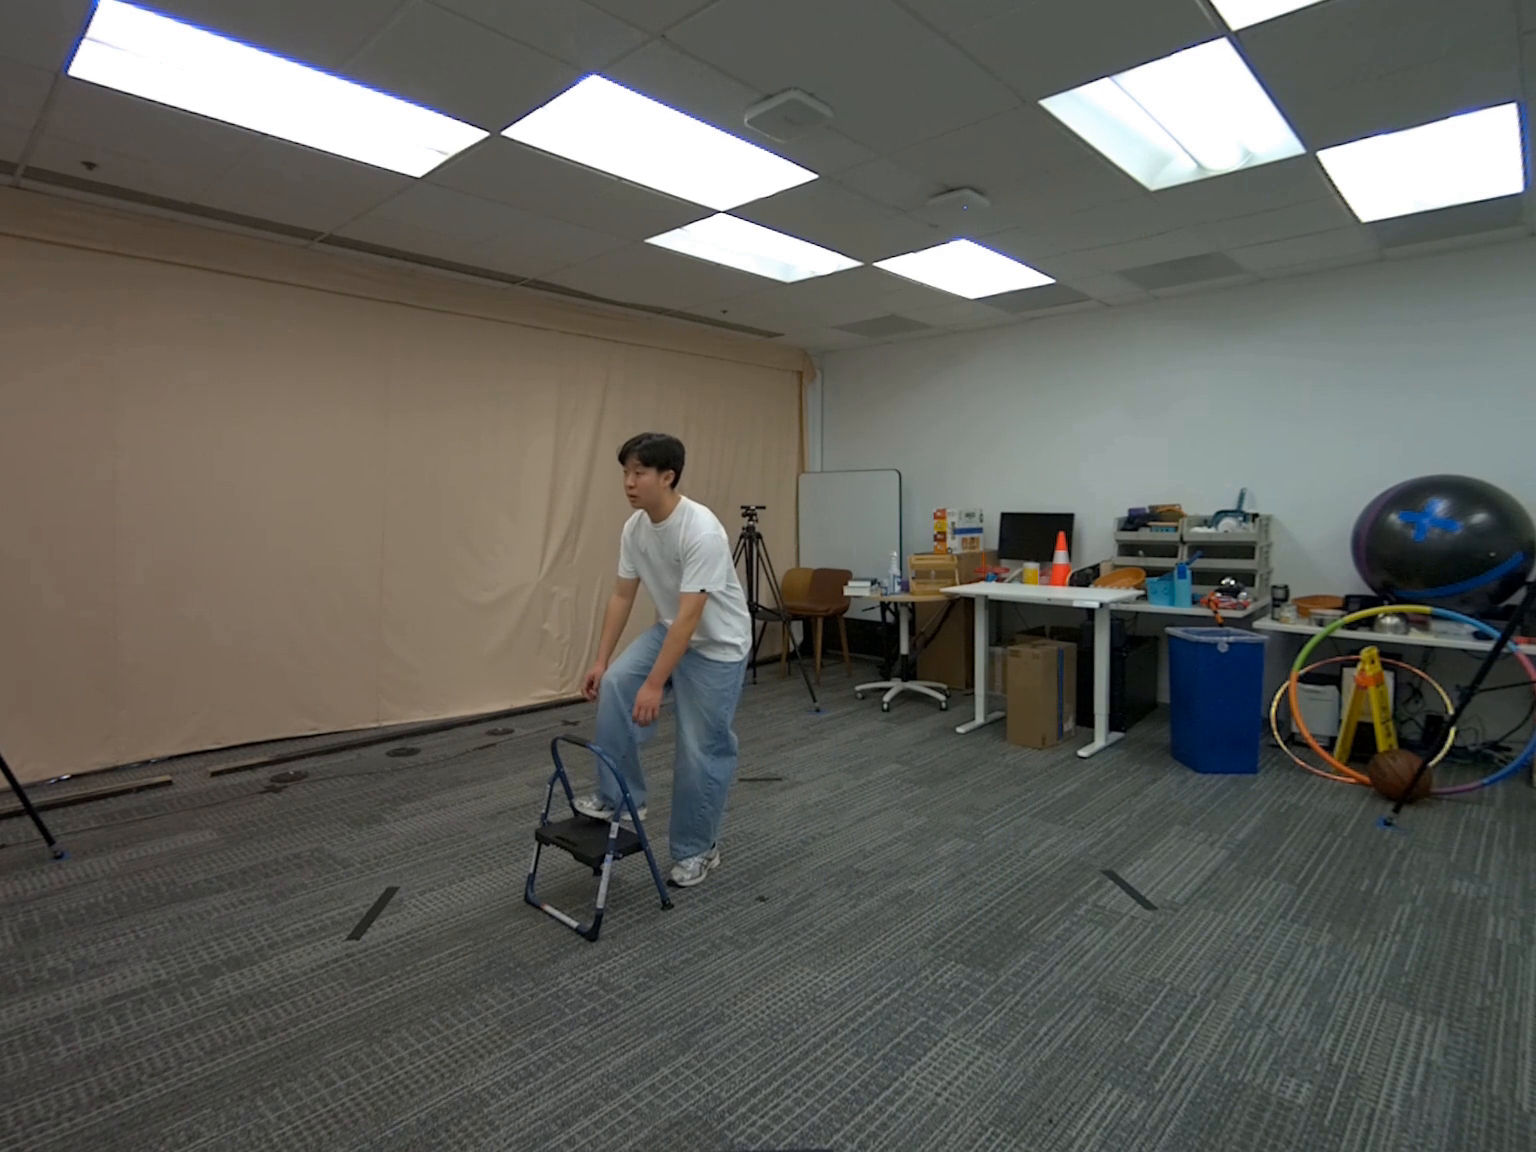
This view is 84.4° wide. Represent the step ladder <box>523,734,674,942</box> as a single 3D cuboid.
[{"bbox_3d":[-0.601,0.848,2.934,0.445,0.605,0.338,3,5,43],"label":"step ladder"}]
